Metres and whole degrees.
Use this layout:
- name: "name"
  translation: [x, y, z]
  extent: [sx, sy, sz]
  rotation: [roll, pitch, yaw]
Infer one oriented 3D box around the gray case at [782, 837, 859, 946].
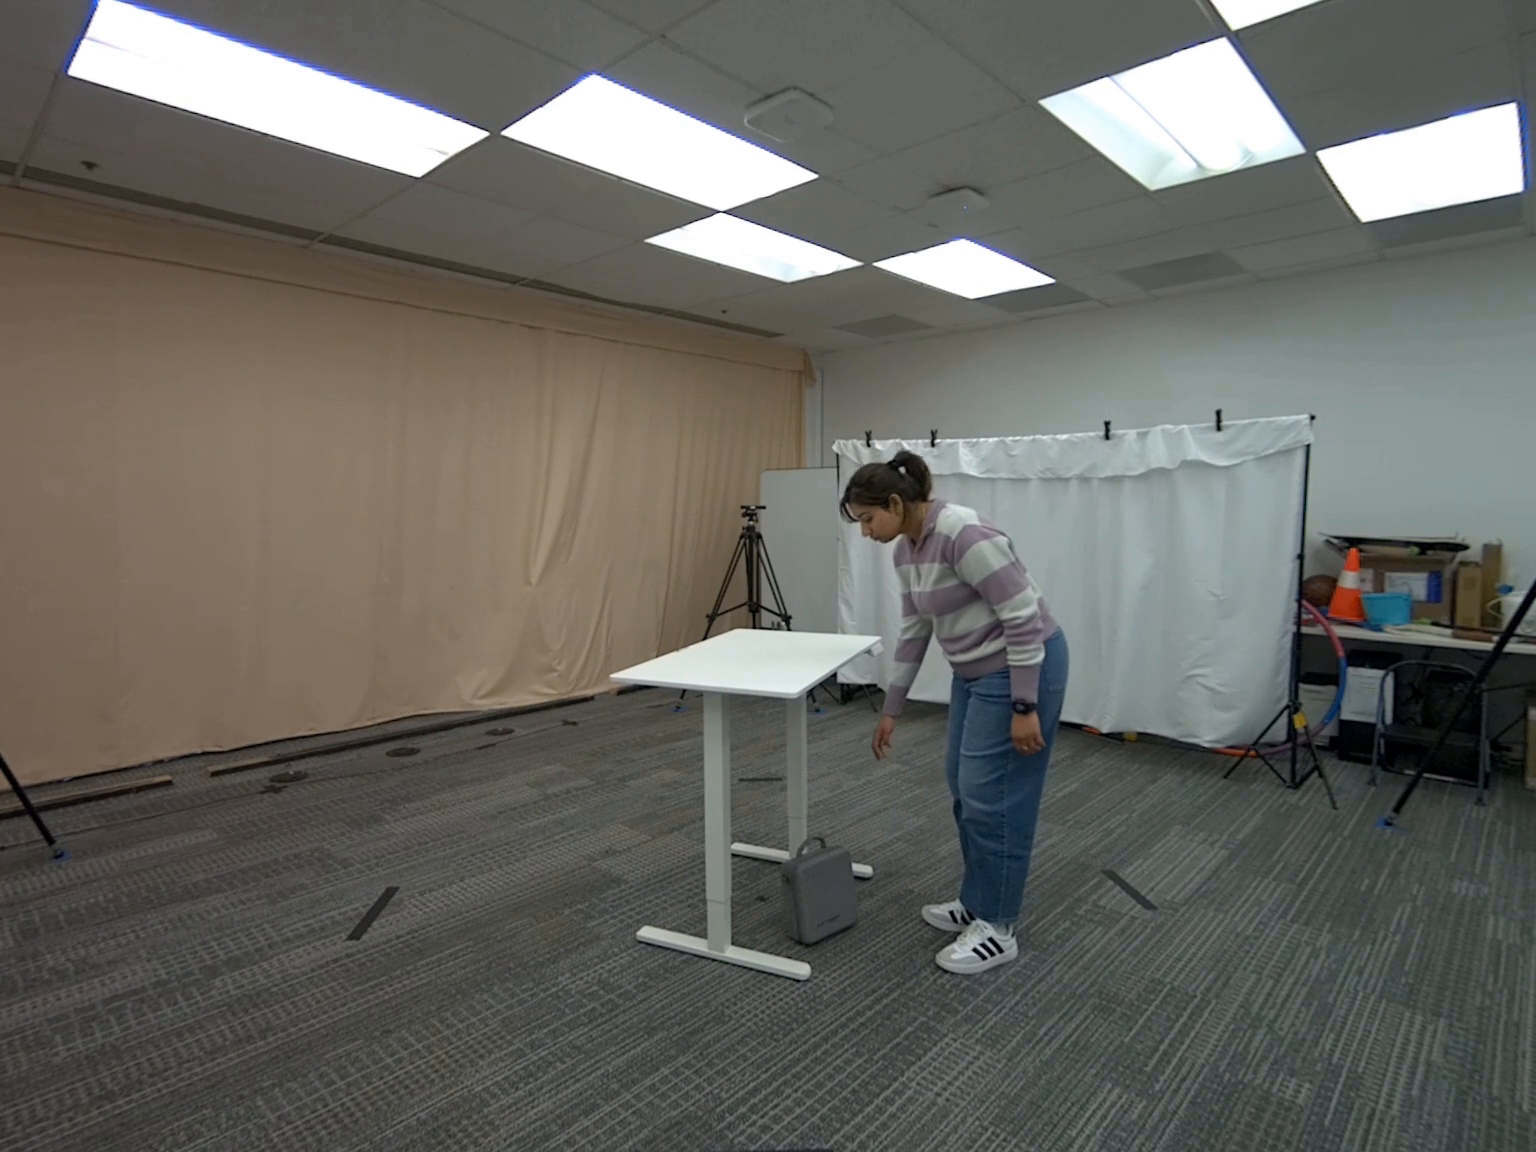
- name: "gray case"
  translation: [0.169, 1.035, 2.748]
  extent: [0.249, 0.261, 0.107]
  rotation: [-4, -3, -41]
